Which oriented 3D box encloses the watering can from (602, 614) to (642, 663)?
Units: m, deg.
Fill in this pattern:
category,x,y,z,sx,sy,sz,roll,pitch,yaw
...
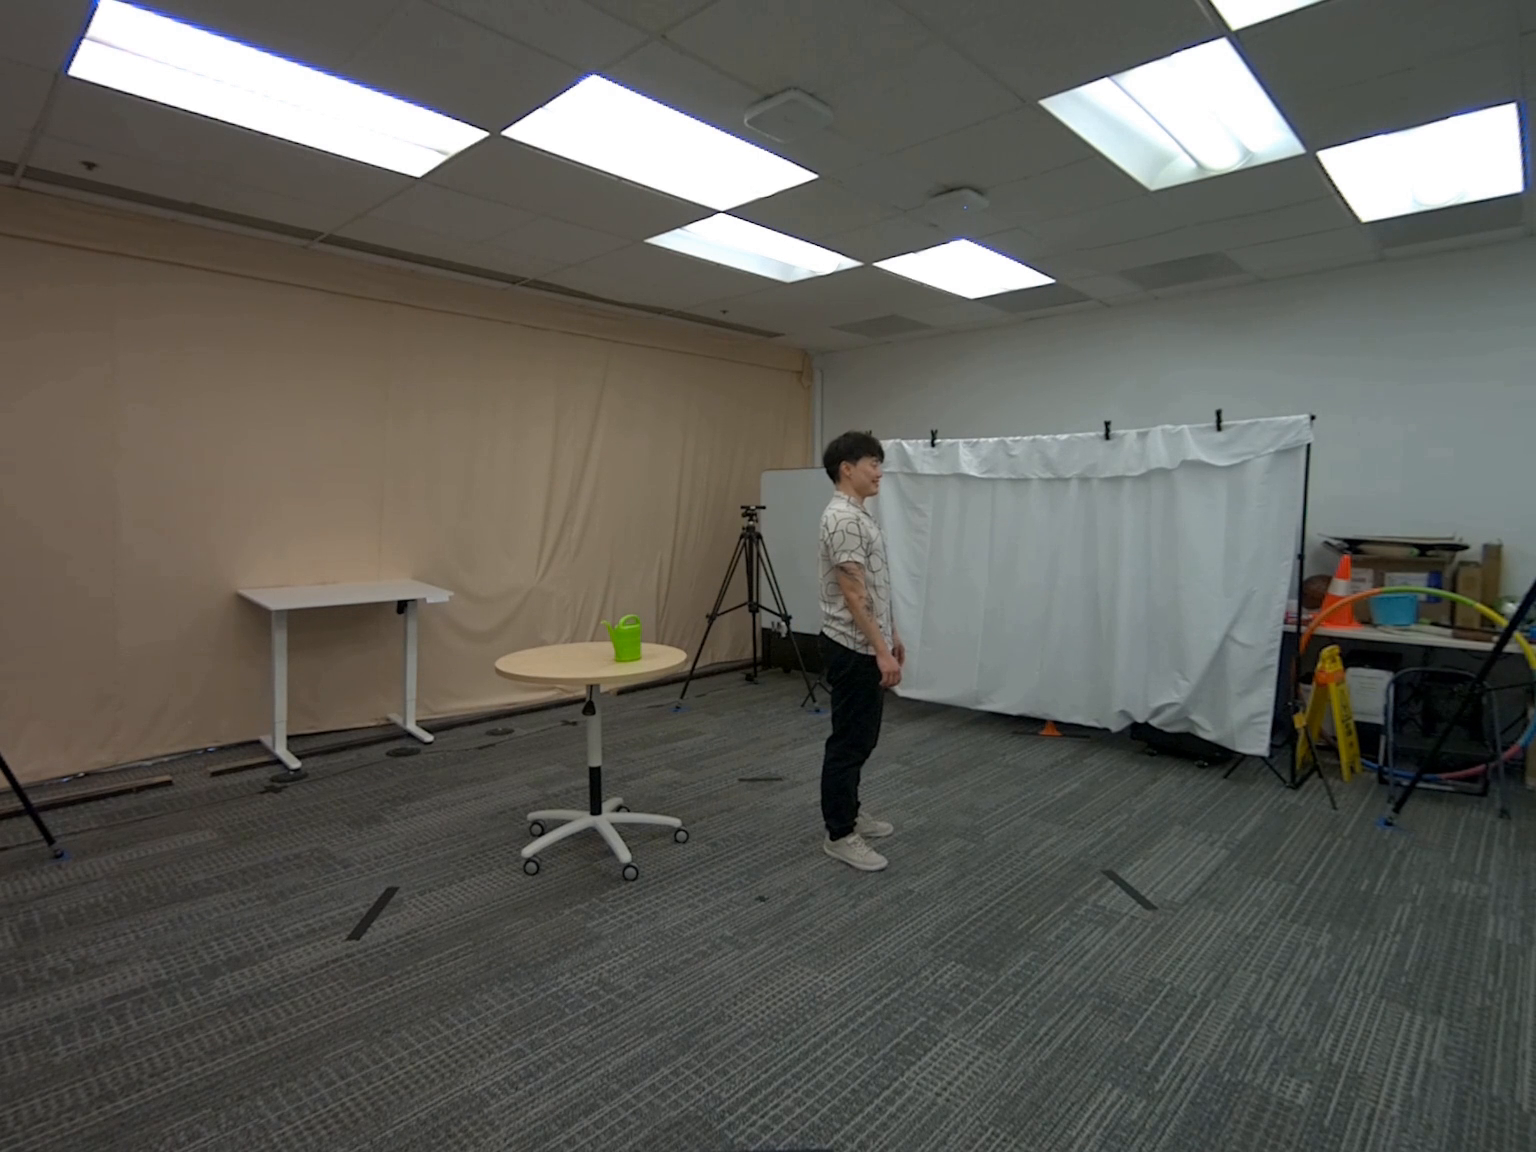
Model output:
category,x,y,z,sx,sy,sz,roll,pitch,yaw
watering can,-0.585,0.251,3.340,0.101,0.176,0.270,0,3,33
